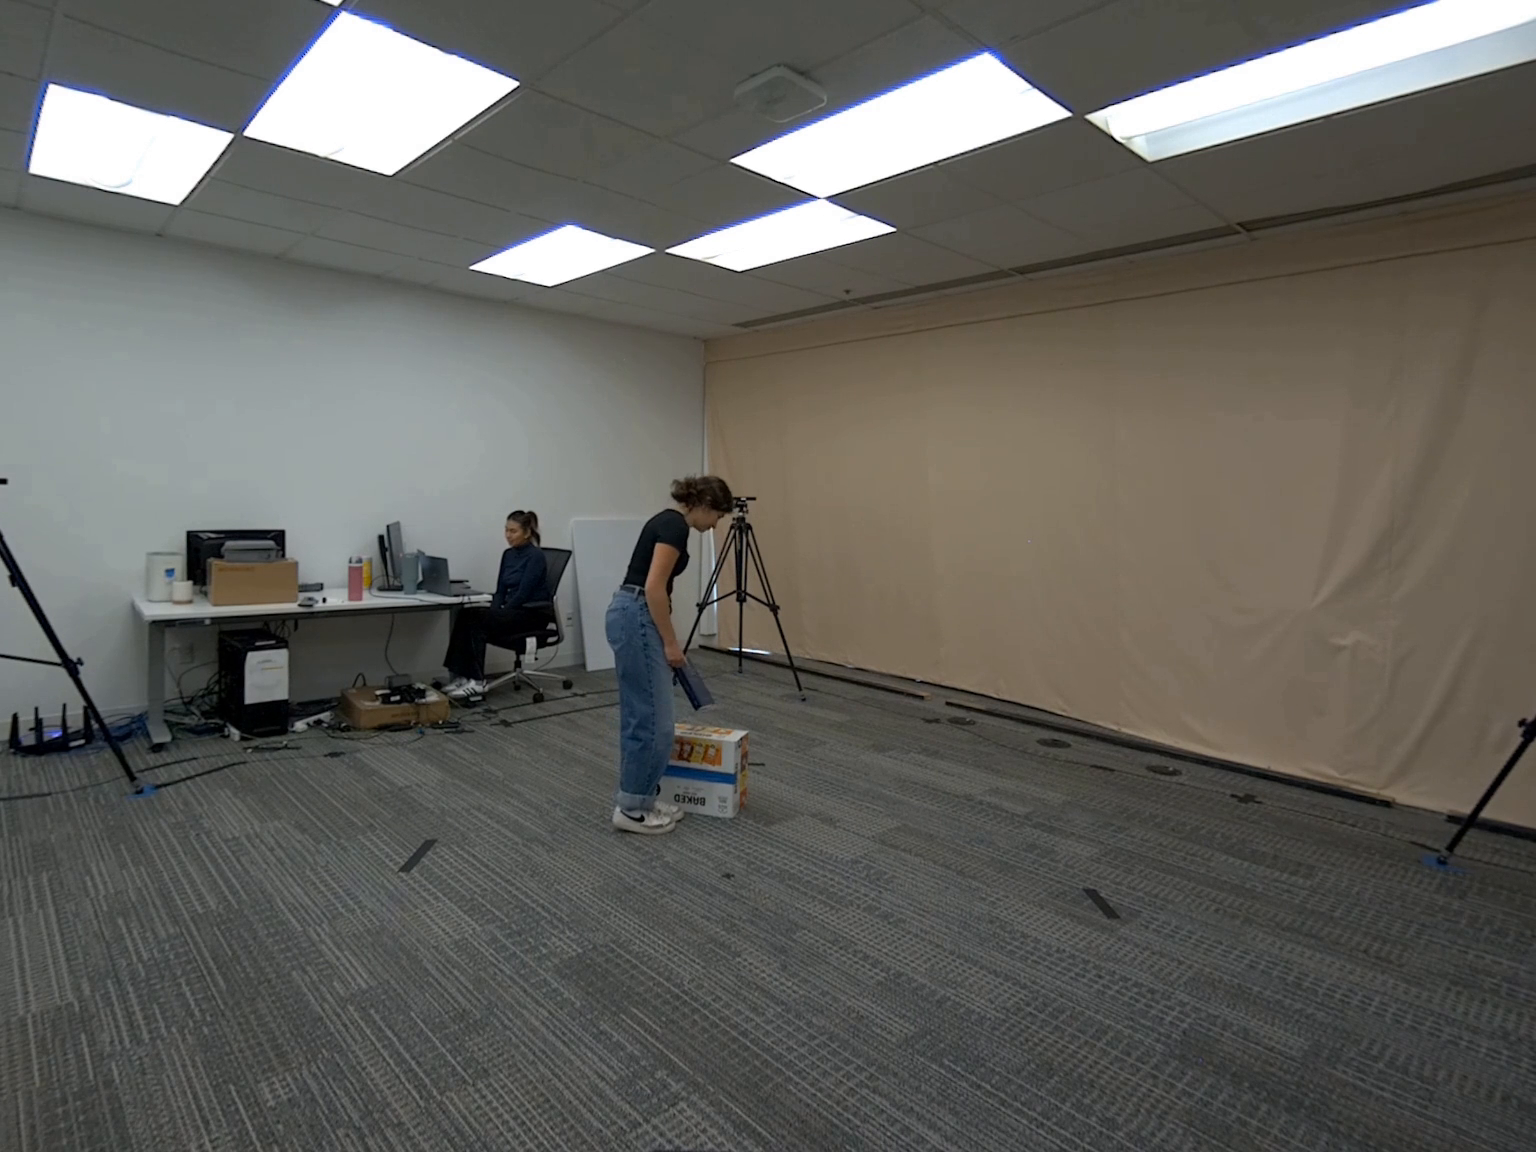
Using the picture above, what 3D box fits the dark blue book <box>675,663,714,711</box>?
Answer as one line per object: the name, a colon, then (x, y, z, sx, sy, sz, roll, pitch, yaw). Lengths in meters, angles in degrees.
dark blue book: (-0.351, 0.491, 3.815, 0.045, 0.248, 0.161, -32, -12, 13)
